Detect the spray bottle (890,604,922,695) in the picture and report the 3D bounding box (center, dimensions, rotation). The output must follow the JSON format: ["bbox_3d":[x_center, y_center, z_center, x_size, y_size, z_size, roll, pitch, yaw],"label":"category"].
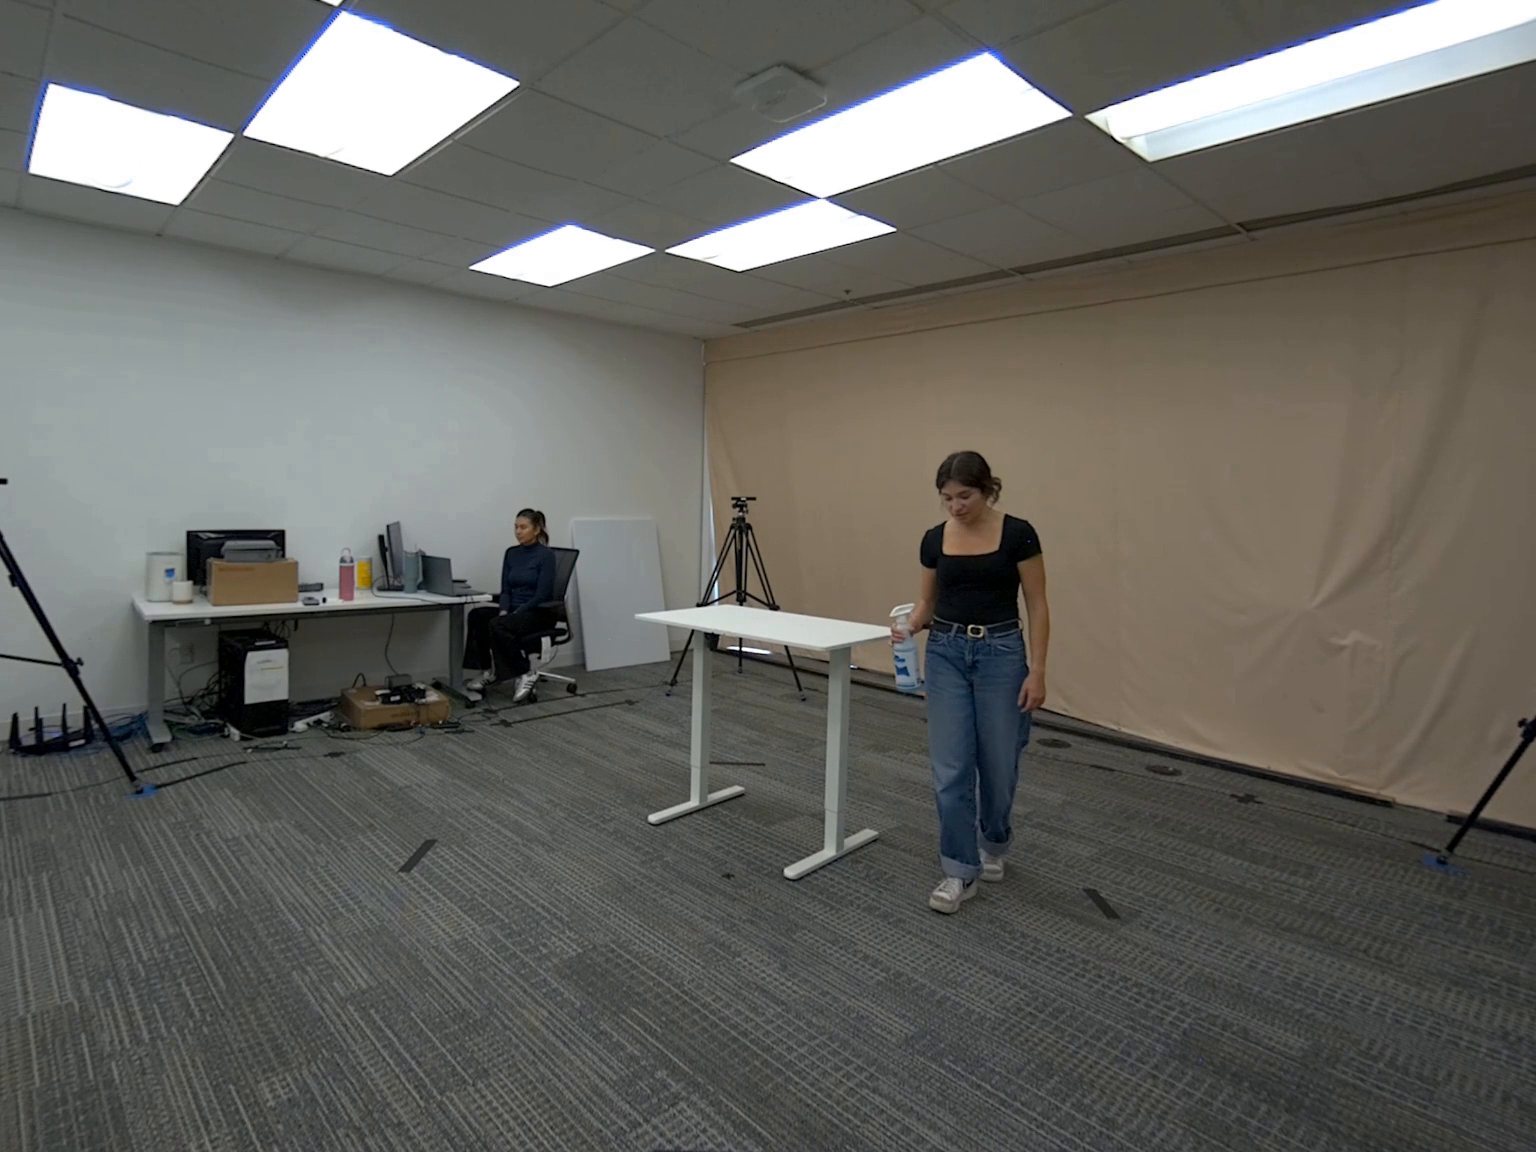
[{"bbox_3d":[0.480,0.244,2.918,0.091,0.295,0.087,-4,10,12],"label":"spray bottle"}]
